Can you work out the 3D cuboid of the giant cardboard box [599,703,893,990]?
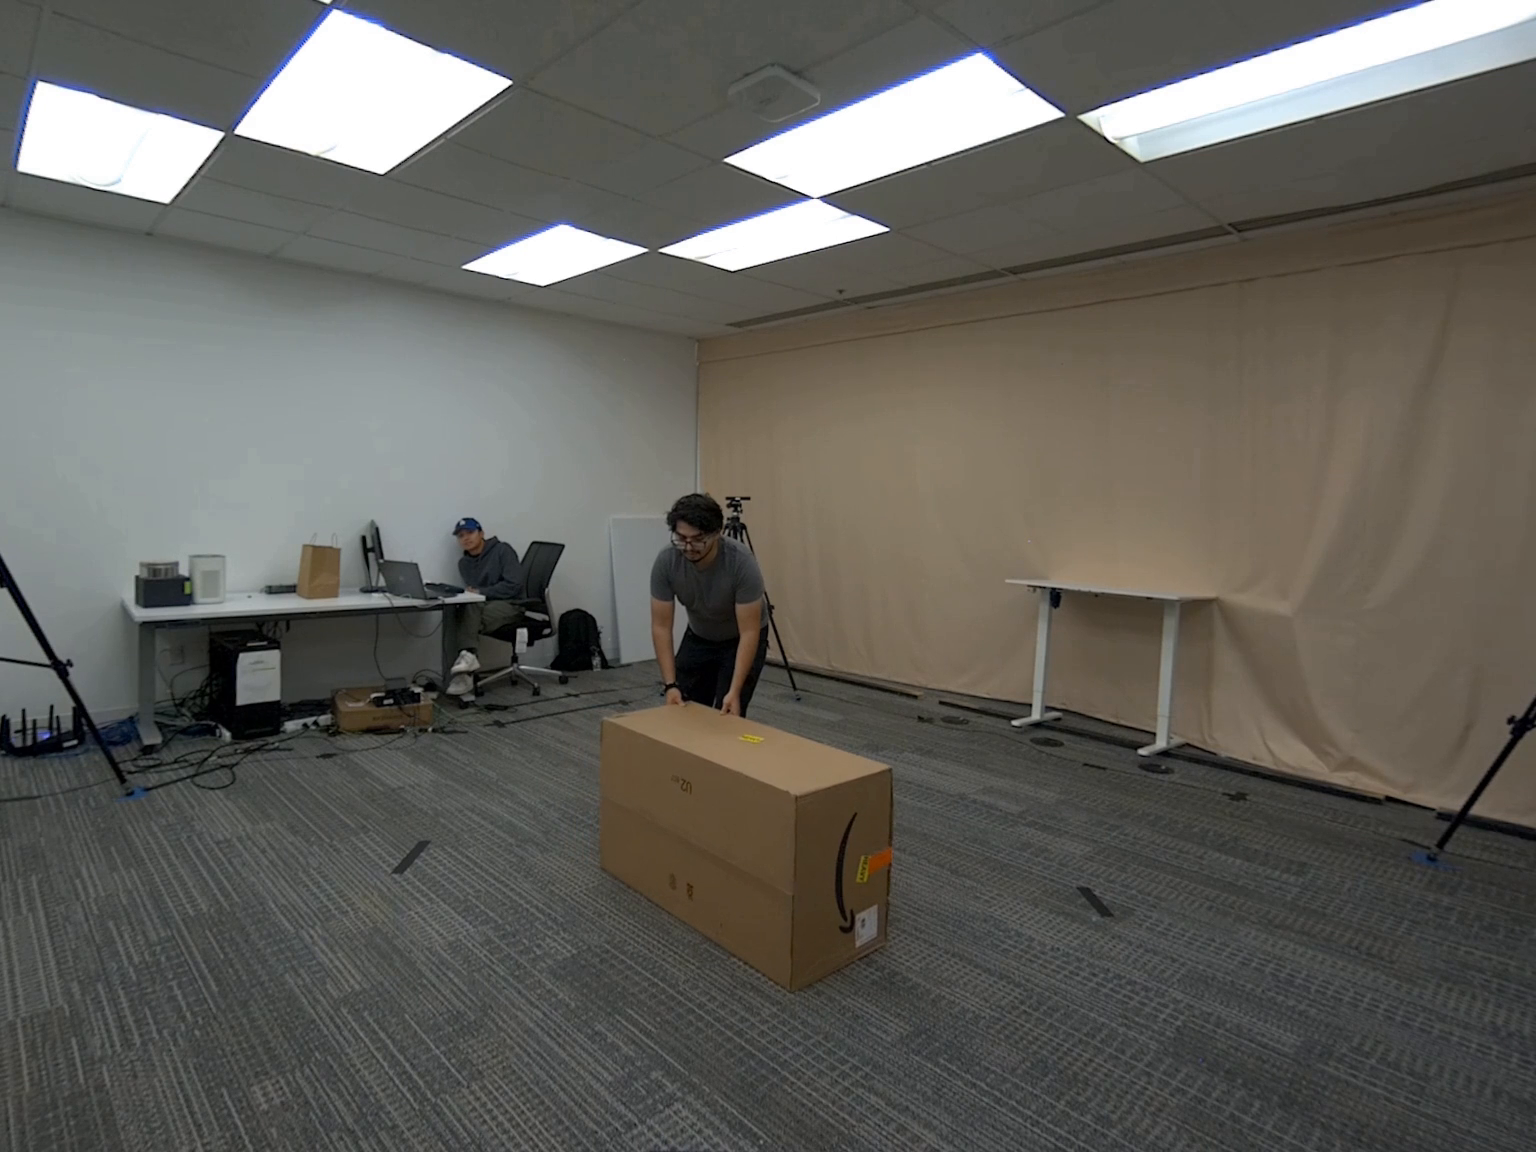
[{"bbox_3d":[-0.124,0.845,2.874,0.416,0.576,1.052,-2,6,-42],"label":"giant cardboard box"}]
